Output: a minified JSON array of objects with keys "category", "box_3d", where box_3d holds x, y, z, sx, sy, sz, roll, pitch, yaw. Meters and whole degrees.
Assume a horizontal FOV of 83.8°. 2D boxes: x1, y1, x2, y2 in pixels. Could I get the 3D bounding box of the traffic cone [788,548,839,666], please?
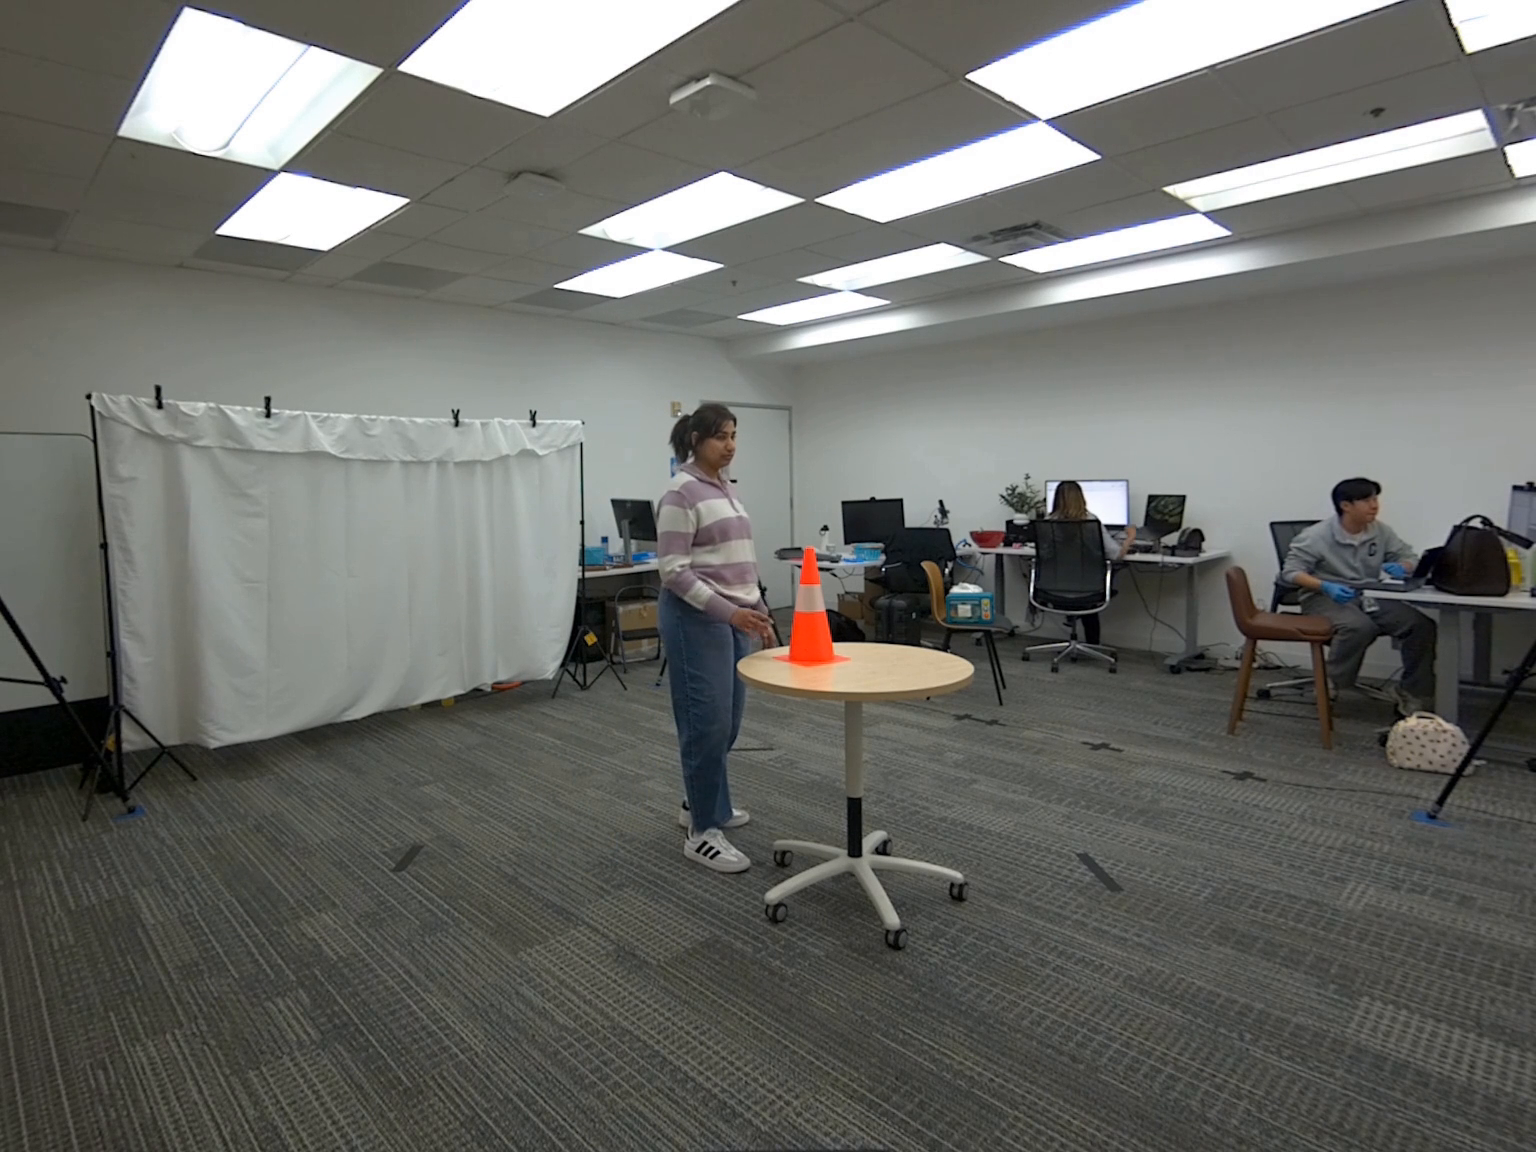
[{"category":"traffic cone","box_3d":[0.153,0.098,2.895,0.210,0.382,0.199,1,5,32]}]
